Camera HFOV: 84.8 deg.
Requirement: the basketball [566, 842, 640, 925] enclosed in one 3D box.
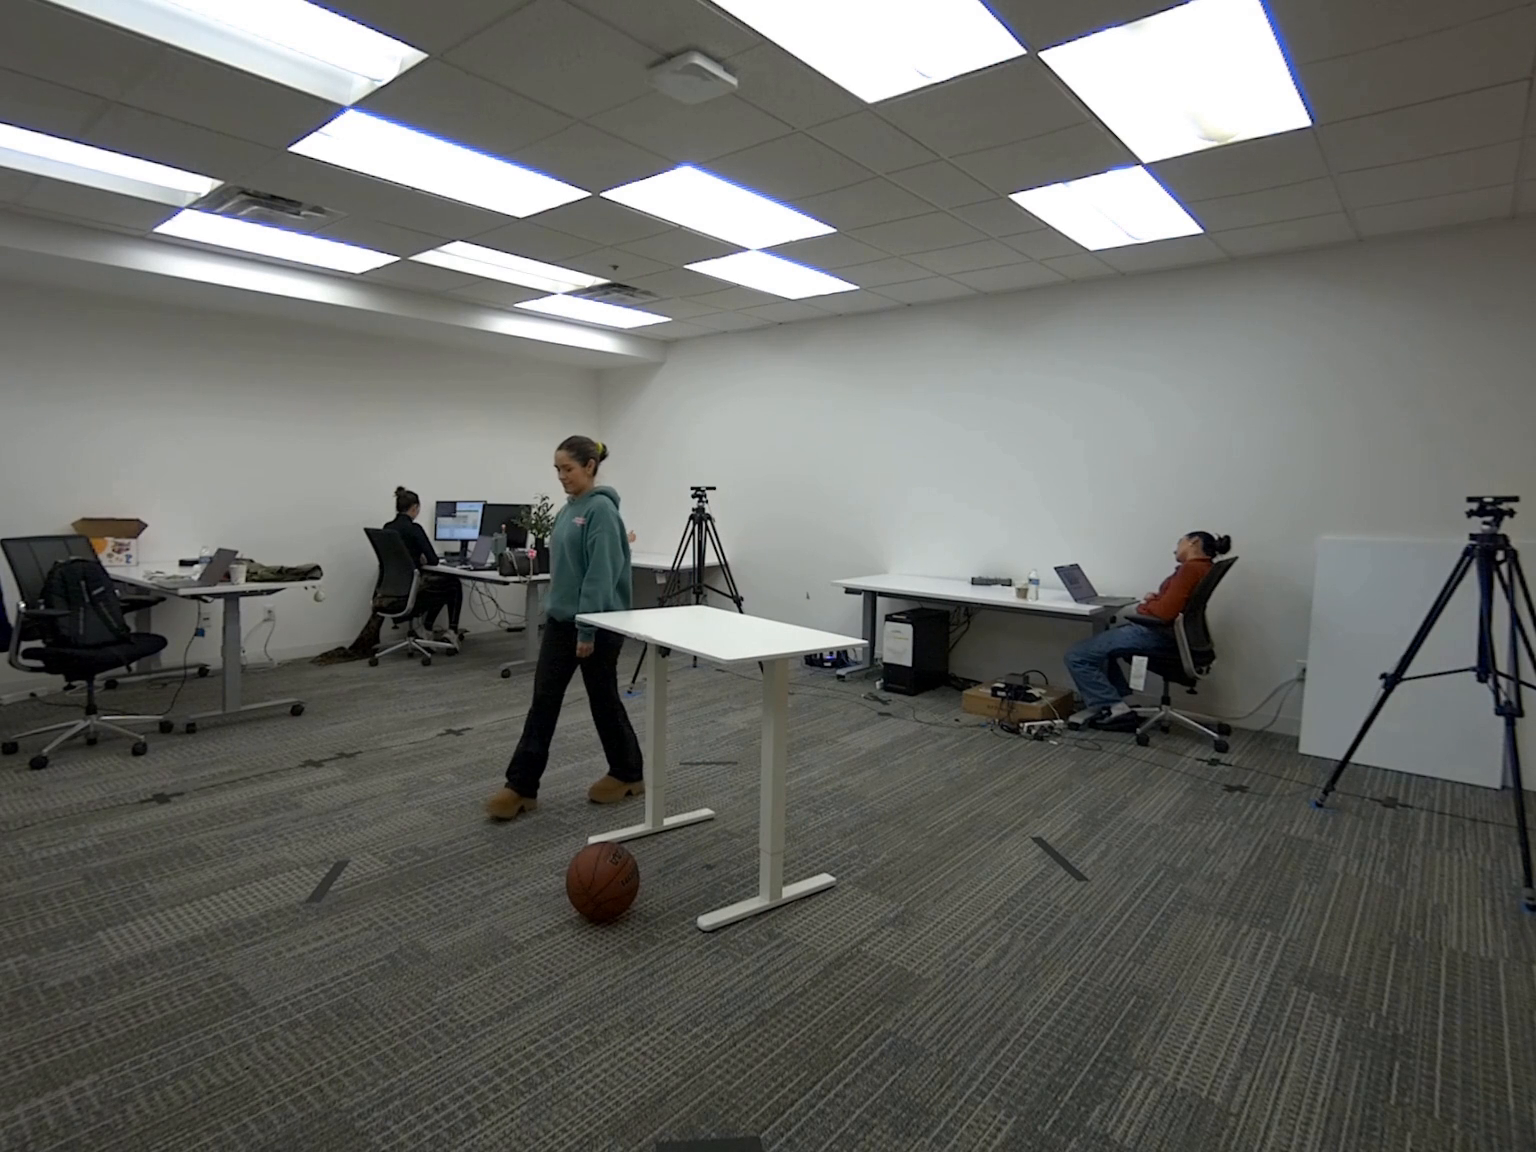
[{"bbox_3d":[-0.547,0.984,2.733,0.235,0.235,0.237,1,4,-2],"label":"basketball"}]
